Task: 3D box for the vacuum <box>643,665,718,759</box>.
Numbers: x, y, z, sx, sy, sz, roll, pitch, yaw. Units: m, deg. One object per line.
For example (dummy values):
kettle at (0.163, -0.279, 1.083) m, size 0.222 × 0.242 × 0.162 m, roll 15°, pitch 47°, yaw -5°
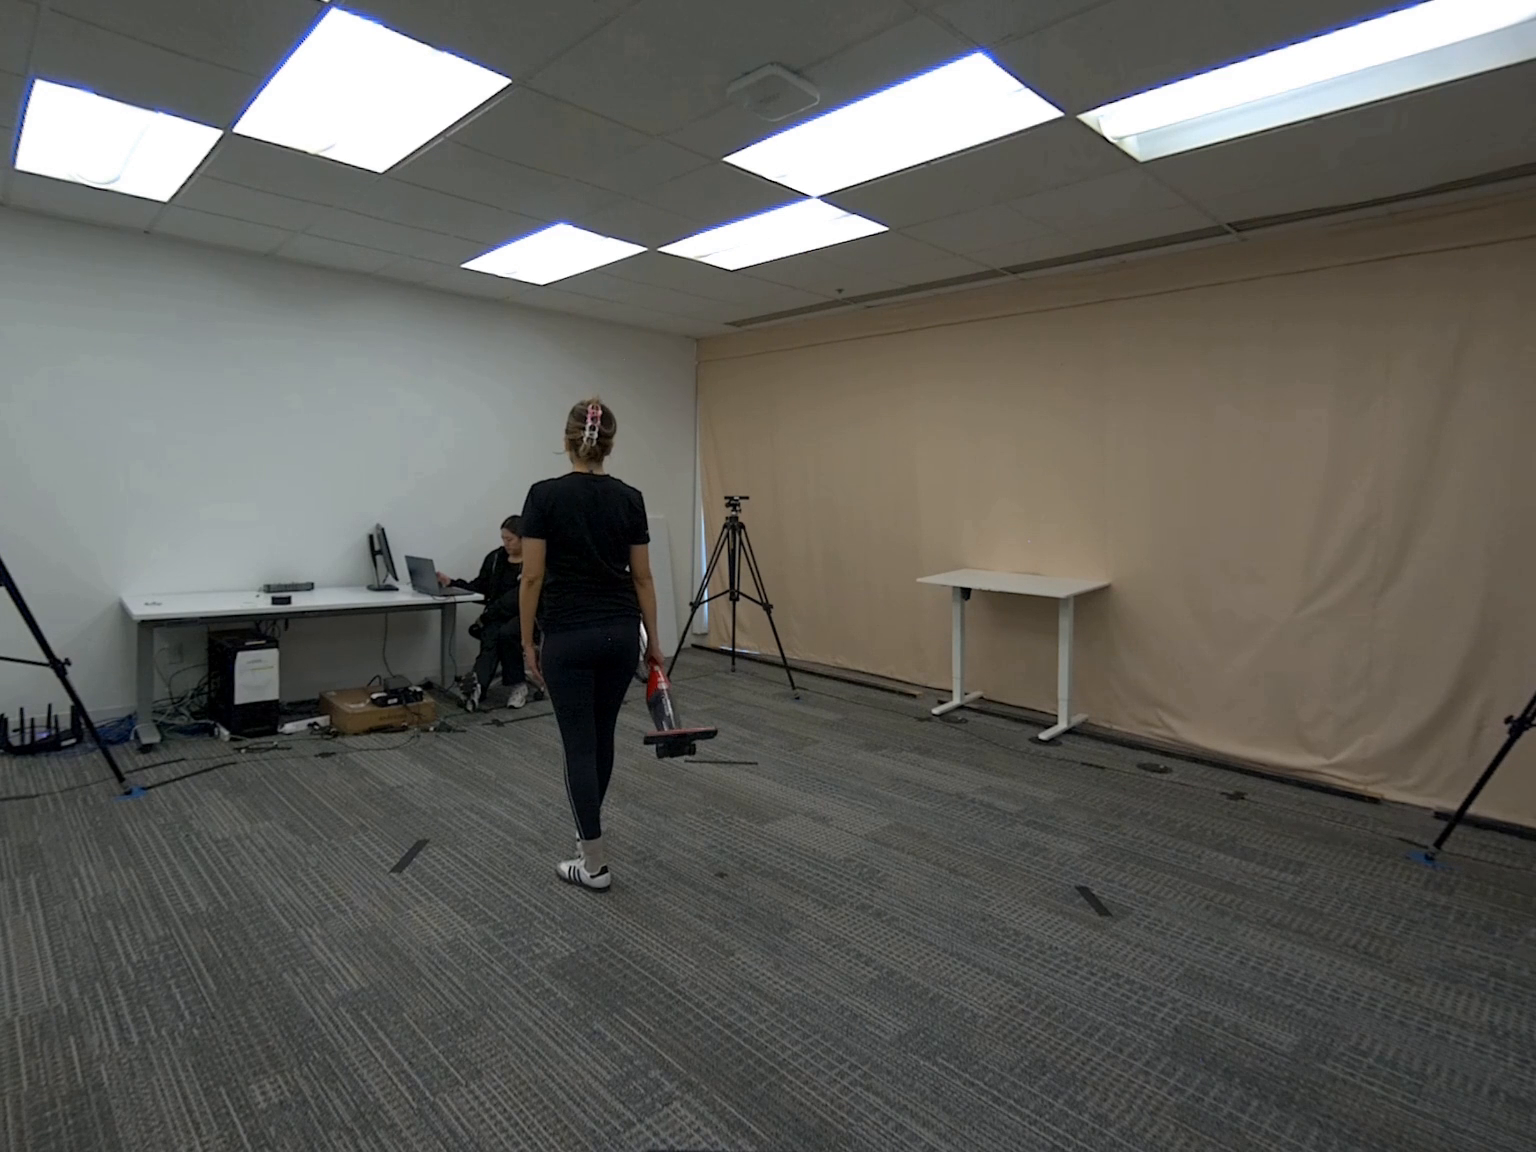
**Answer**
vacuum at (-0.477, 0.334, 3.305) m, size 0.249 × 0.141 × 1.080 m, roll -5°, pitch 30°, yaw -17°
